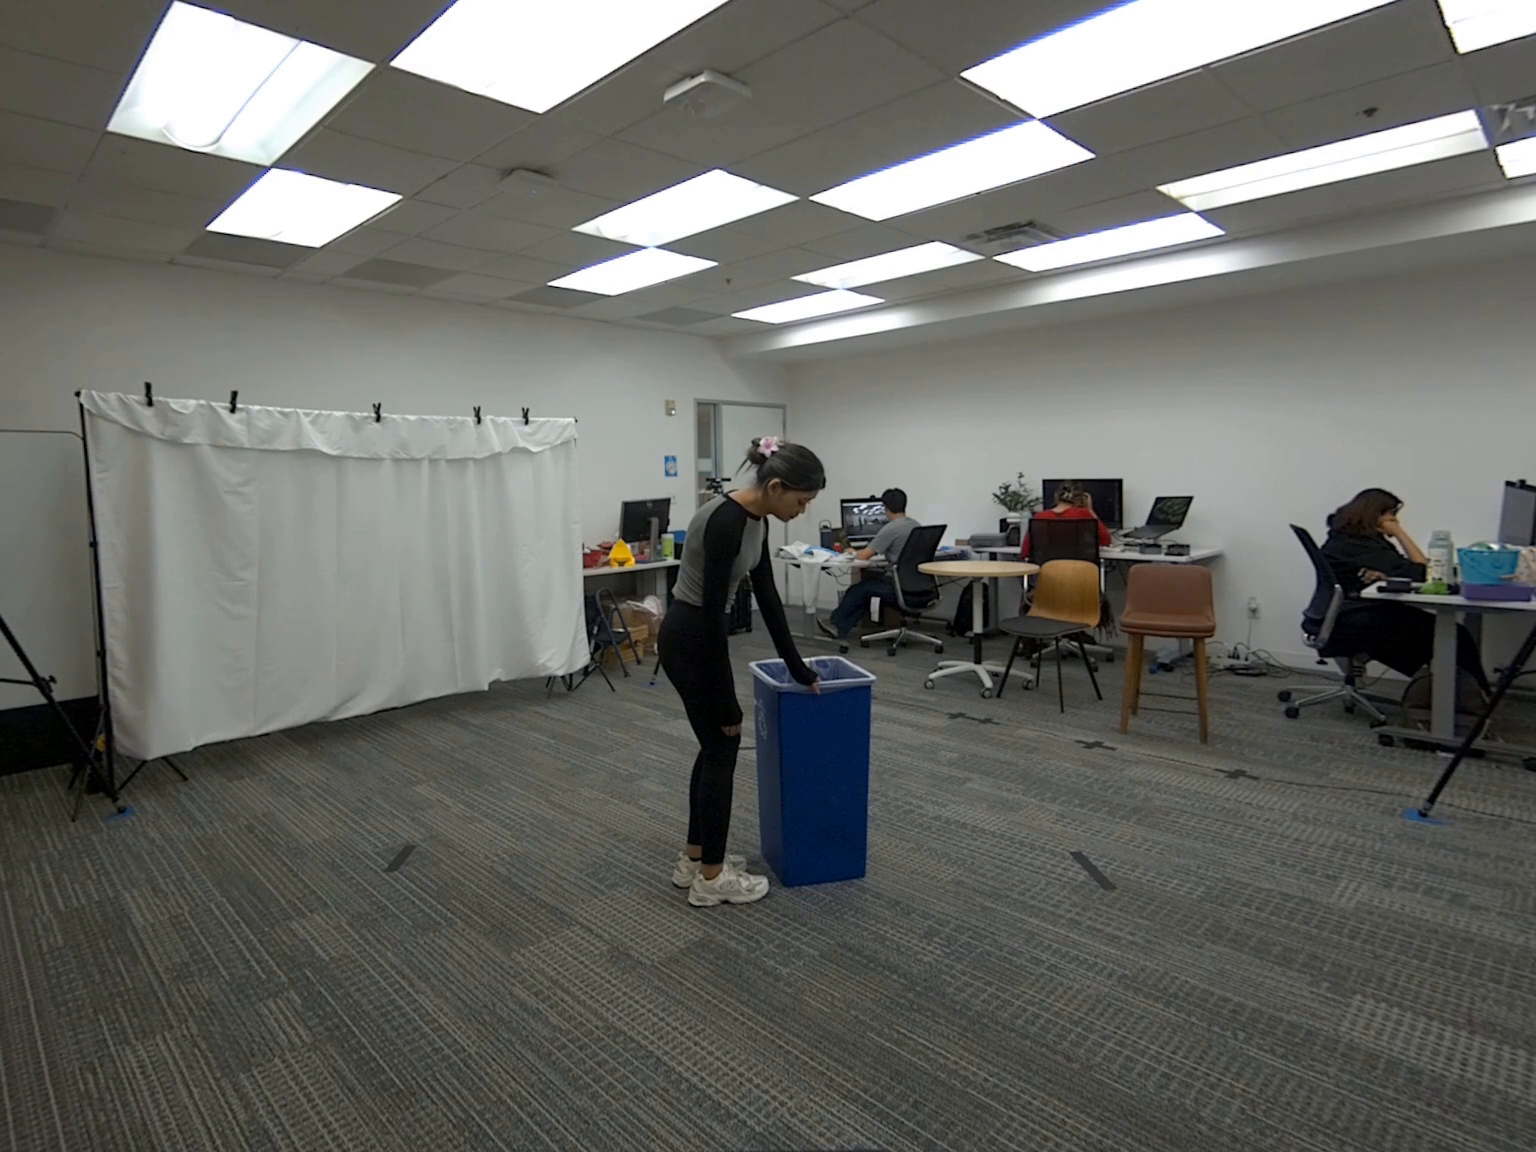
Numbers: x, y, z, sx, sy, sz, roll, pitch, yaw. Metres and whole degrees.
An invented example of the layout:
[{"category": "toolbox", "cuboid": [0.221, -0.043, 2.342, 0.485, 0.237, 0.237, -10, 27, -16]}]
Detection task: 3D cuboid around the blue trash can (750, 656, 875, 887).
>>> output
[{"category": "blue trash can", "cuboid": [0.160, 0.686, 3.061, 0.373, 0.711, 0.381, -3, 5, -15]}]
